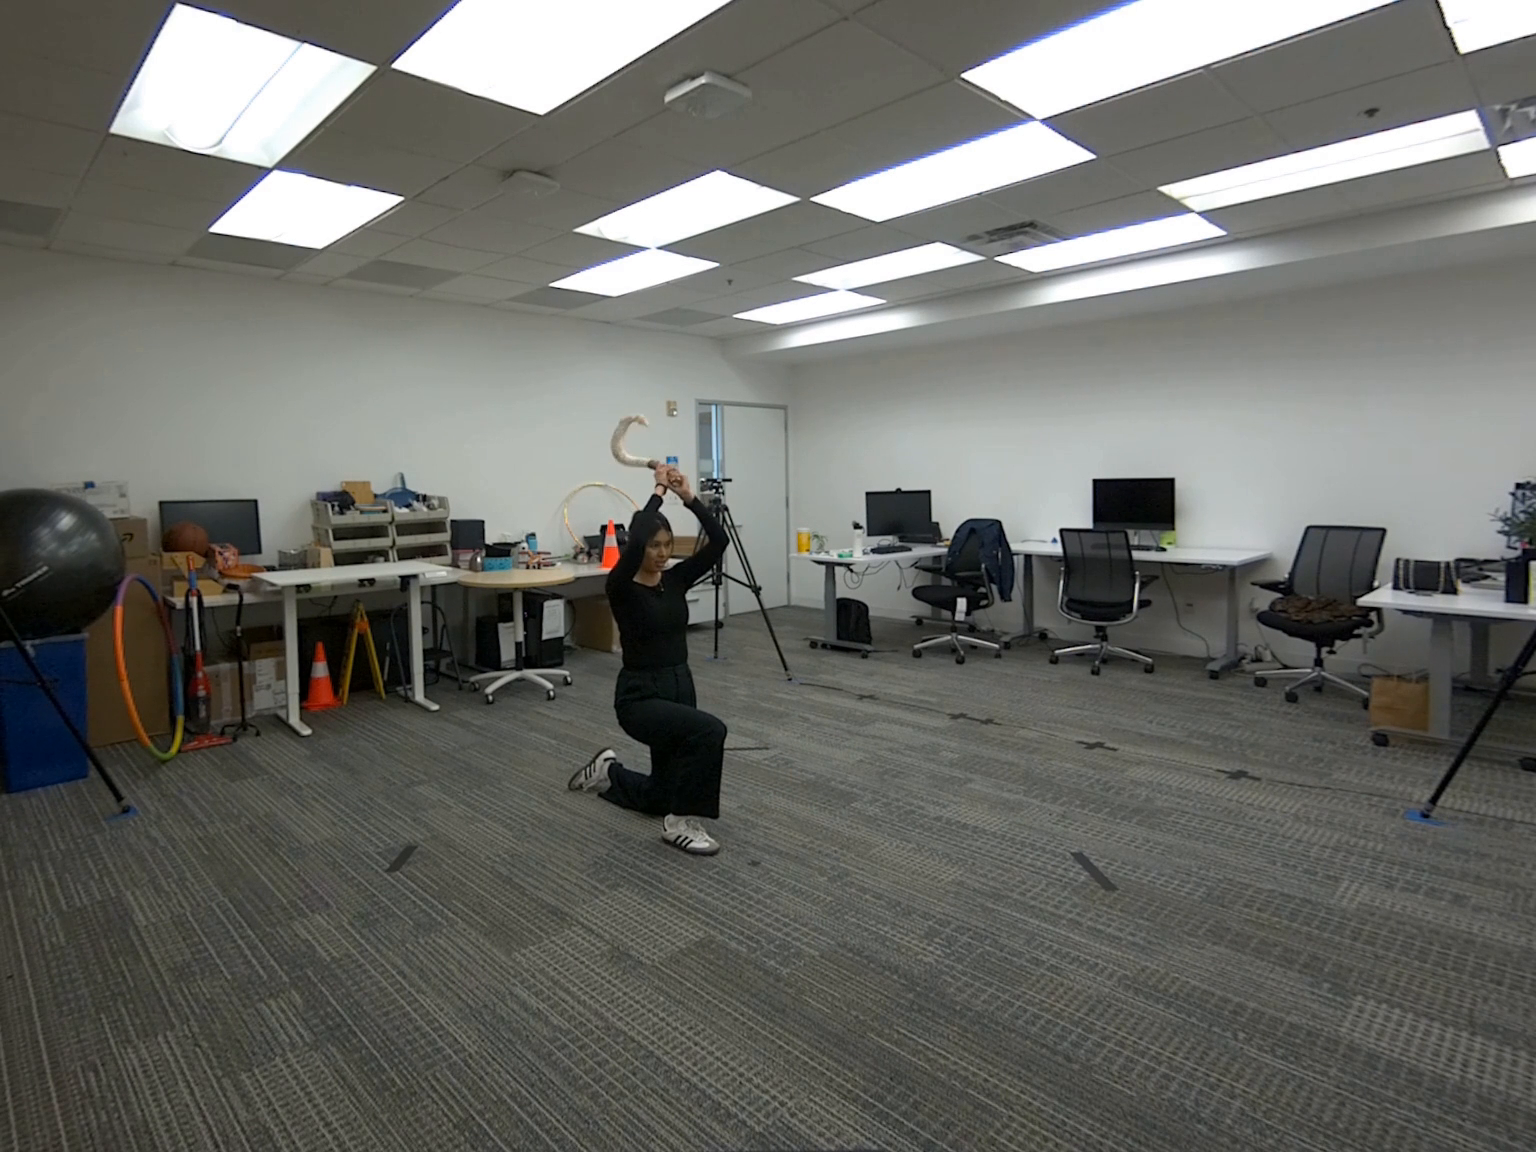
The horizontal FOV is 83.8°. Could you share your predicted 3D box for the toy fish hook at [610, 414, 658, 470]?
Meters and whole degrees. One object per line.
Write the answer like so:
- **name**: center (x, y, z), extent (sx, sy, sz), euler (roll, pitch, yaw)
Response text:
- **toy fish hook**: center (-0.474, -0.509, 3.516), extent (0.047, 0.223, 0.527), euler (5, 20, -45)
